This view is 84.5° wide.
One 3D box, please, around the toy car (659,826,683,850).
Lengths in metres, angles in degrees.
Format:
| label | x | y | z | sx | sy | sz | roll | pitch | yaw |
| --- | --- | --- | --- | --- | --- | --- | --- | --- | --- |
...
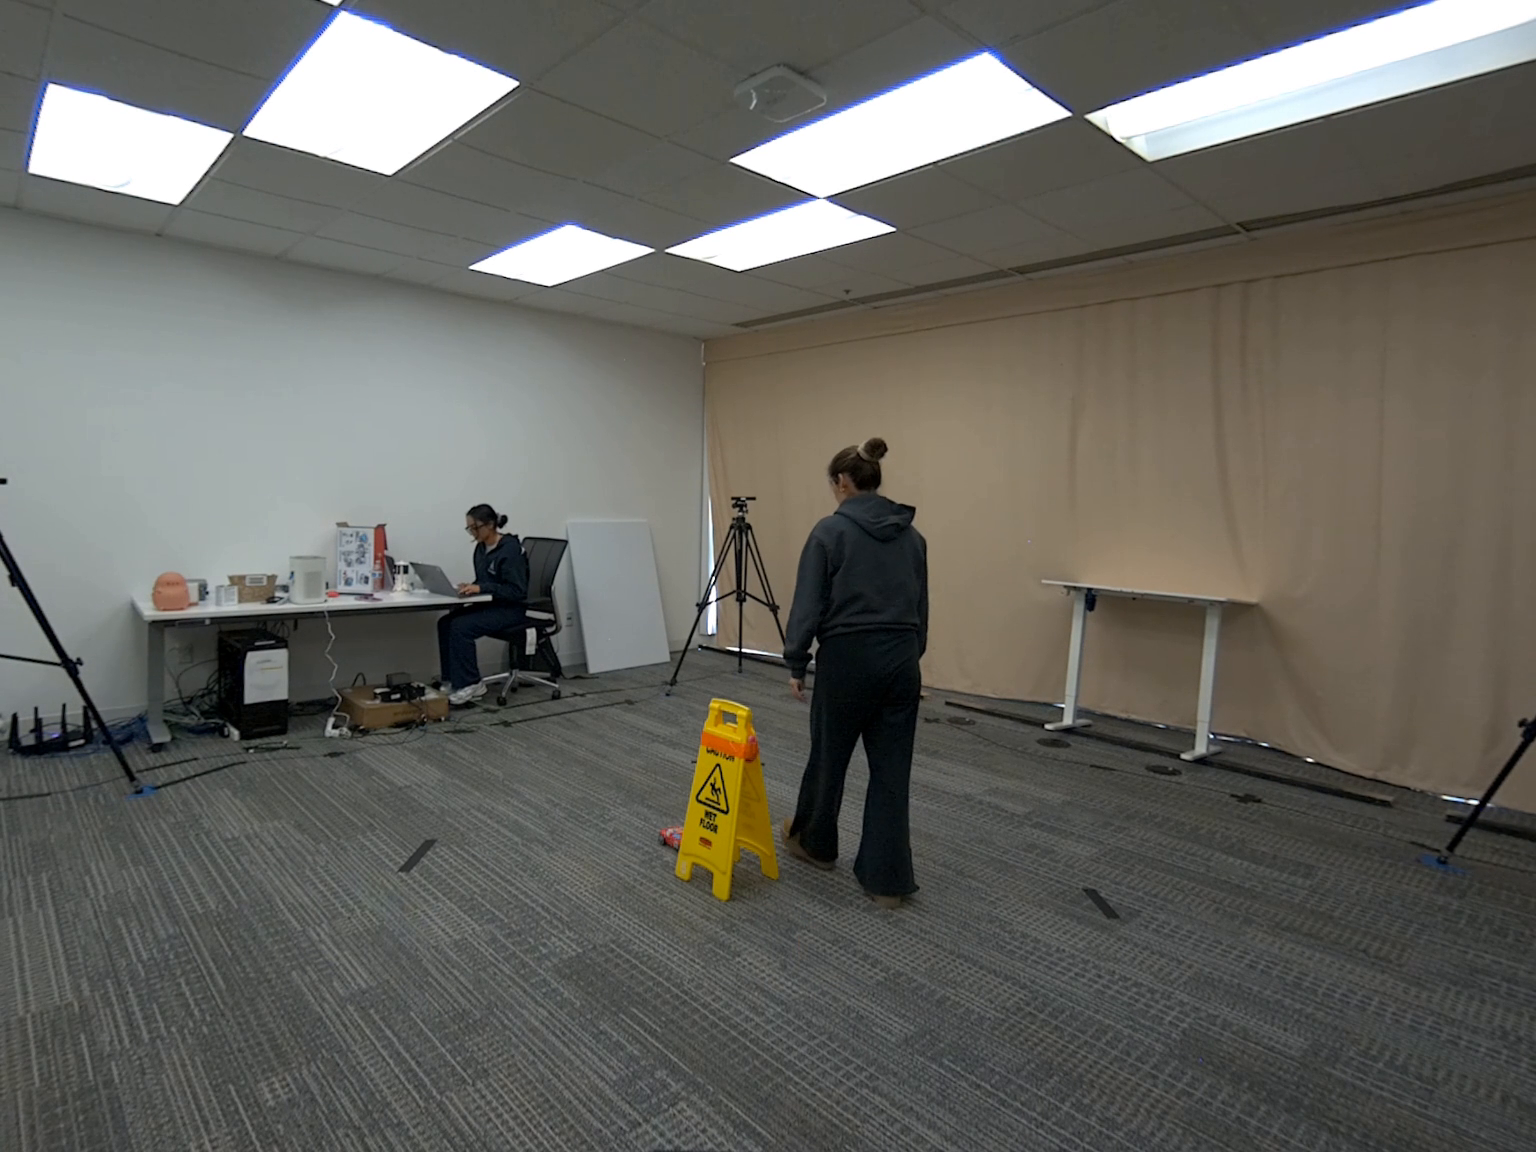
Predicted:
| label | x | y | z | sx | sy | sz | roll | pitch | yaw |
| --- | --- | --- | --- | --- | --- | --- | --- | --- | --- |
| toy car | -0.334 | 1.052 | 3.342 | 0.127 | 0.083 | 0.259 | -2 | -5 | -40 |
